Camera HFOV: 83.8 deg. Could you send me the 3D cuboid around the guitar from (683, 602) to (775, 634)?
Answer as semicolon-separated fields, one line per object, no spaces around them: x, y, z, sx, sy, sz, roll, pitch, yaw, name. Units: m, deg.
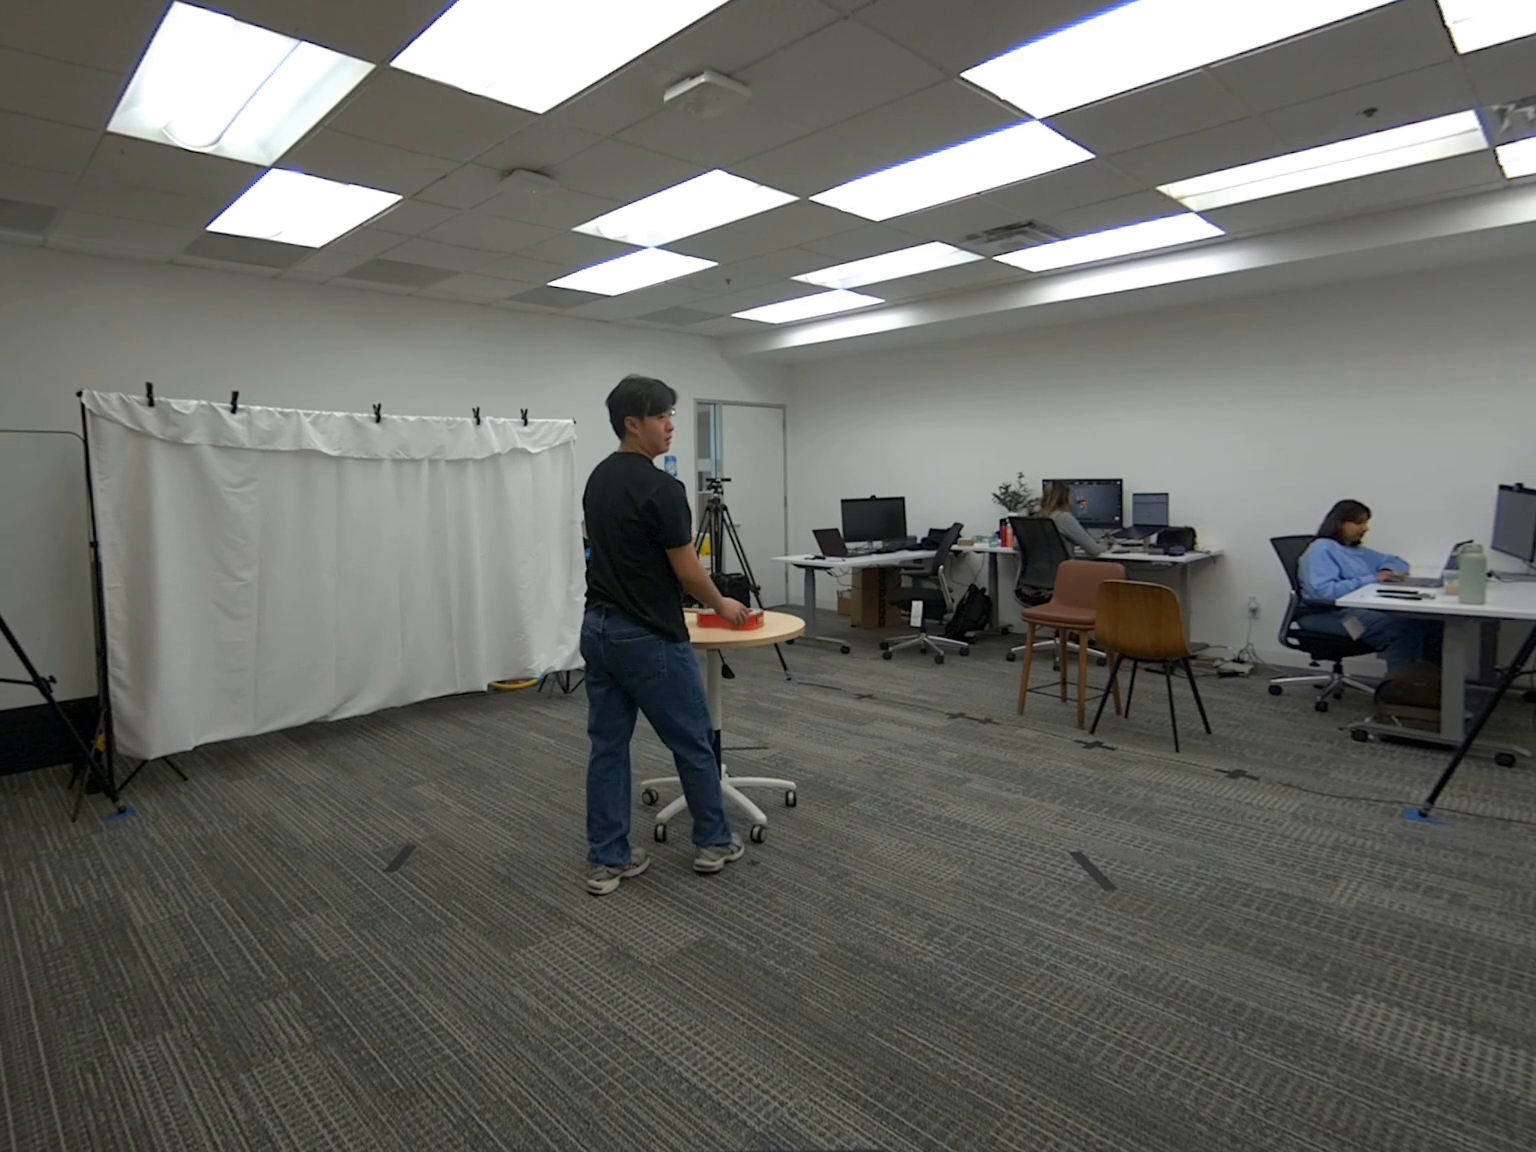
-0.243;0.166;3.556;0.511;0.070;0.189;3;8;29;guitar
